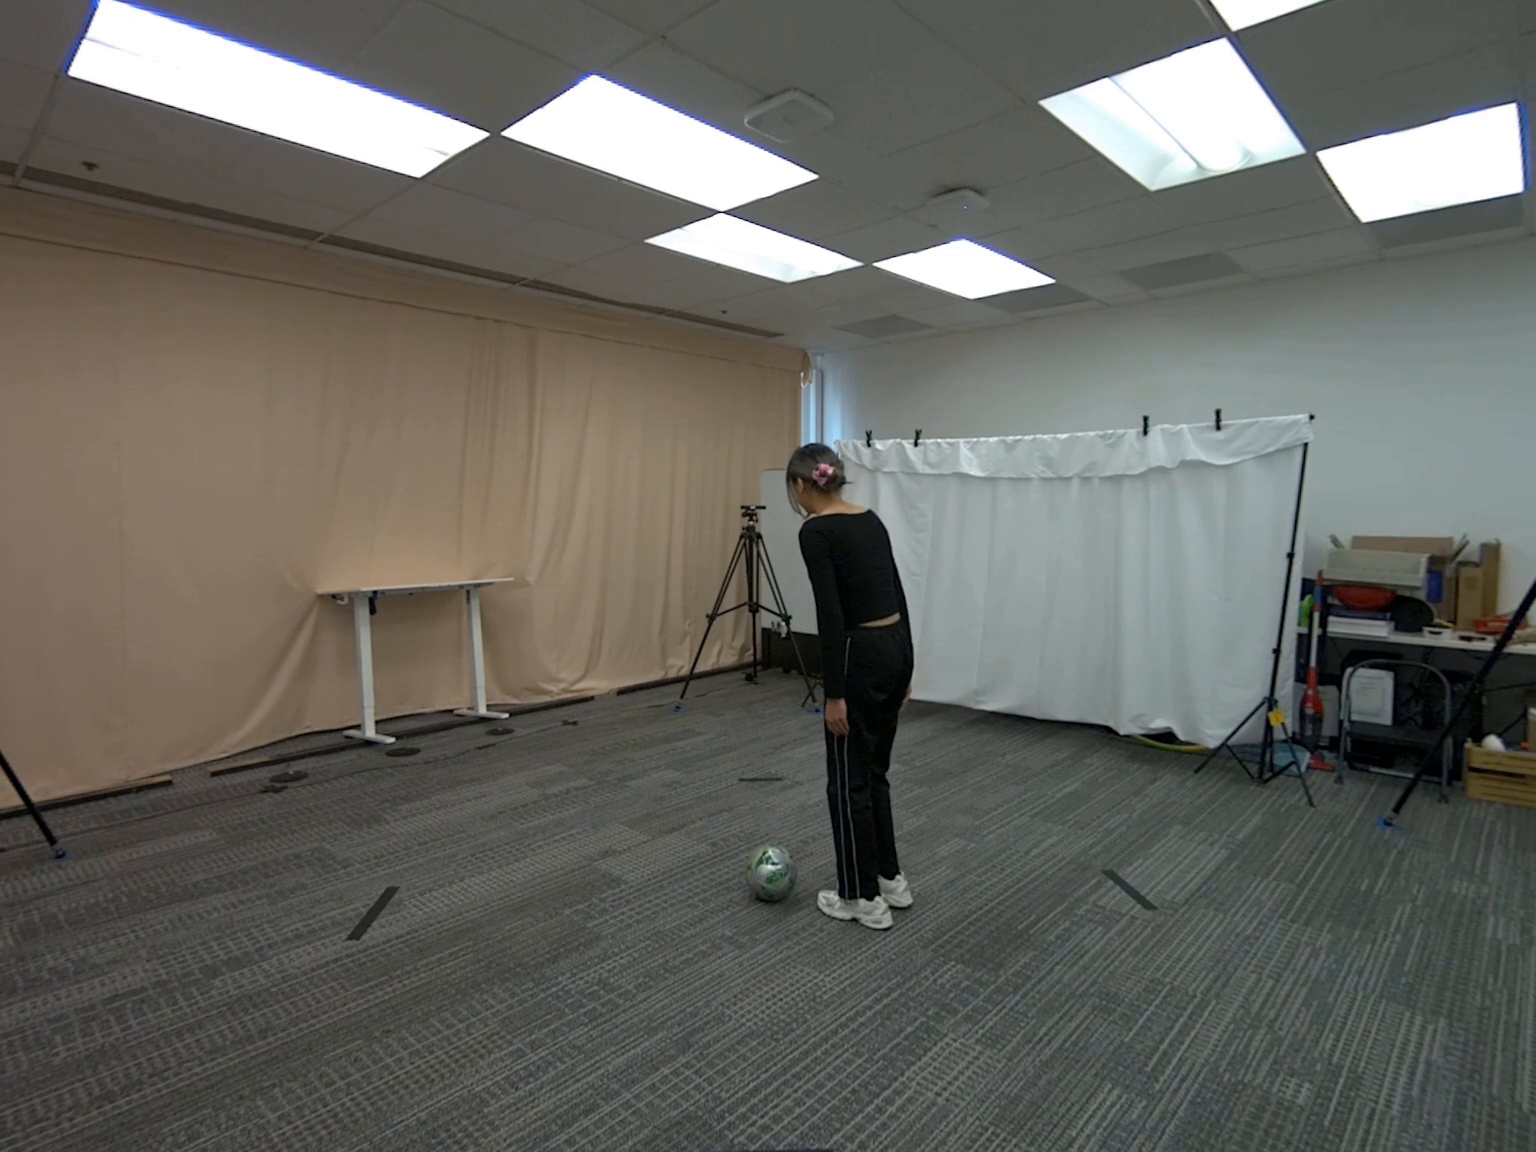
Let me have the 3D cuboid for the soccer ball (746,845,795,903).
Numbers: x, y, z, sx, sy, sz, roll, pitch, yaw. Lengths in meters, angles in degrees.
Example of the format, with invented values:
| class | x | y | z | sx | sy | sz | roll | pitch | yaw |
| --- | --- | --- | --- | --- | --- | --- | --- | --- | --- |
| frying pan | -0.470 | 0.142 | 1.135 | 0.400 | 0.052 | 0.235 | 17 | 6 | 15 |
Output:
| class | x | y | z | sx | sy | sz | roll | pitch | yaw |
| --- | --- | --- | --- | --- | --- | --- | --- | --- | --- |
| soccer ball | 0.014 | 1.055 | 2.985 | 0.187 | 0.187 | 0.188 | 0 | 4 | -2 |
